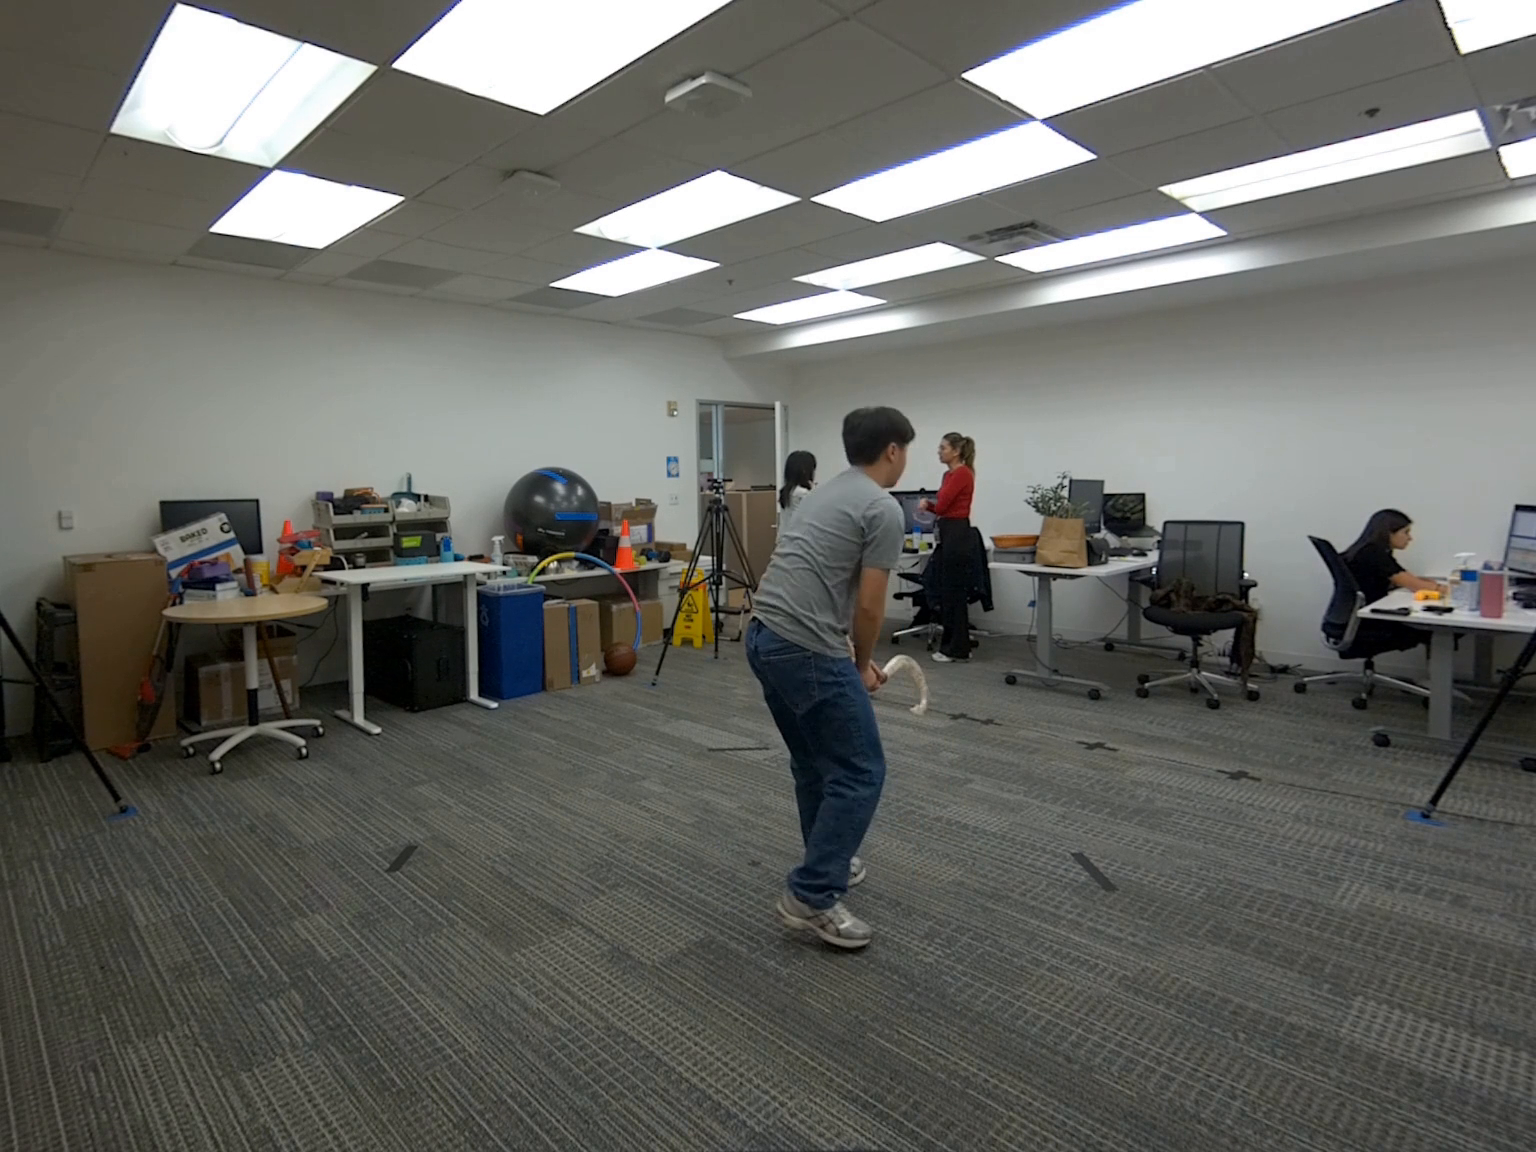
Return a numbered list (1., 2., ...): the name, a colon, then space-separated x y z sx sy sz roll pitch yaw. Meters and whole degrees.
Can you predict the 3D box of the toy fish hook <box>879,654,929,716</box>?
1. toy fish hook: 0.454 0.398 2.950 0.048 0.229 0.493 -36 -19 30
